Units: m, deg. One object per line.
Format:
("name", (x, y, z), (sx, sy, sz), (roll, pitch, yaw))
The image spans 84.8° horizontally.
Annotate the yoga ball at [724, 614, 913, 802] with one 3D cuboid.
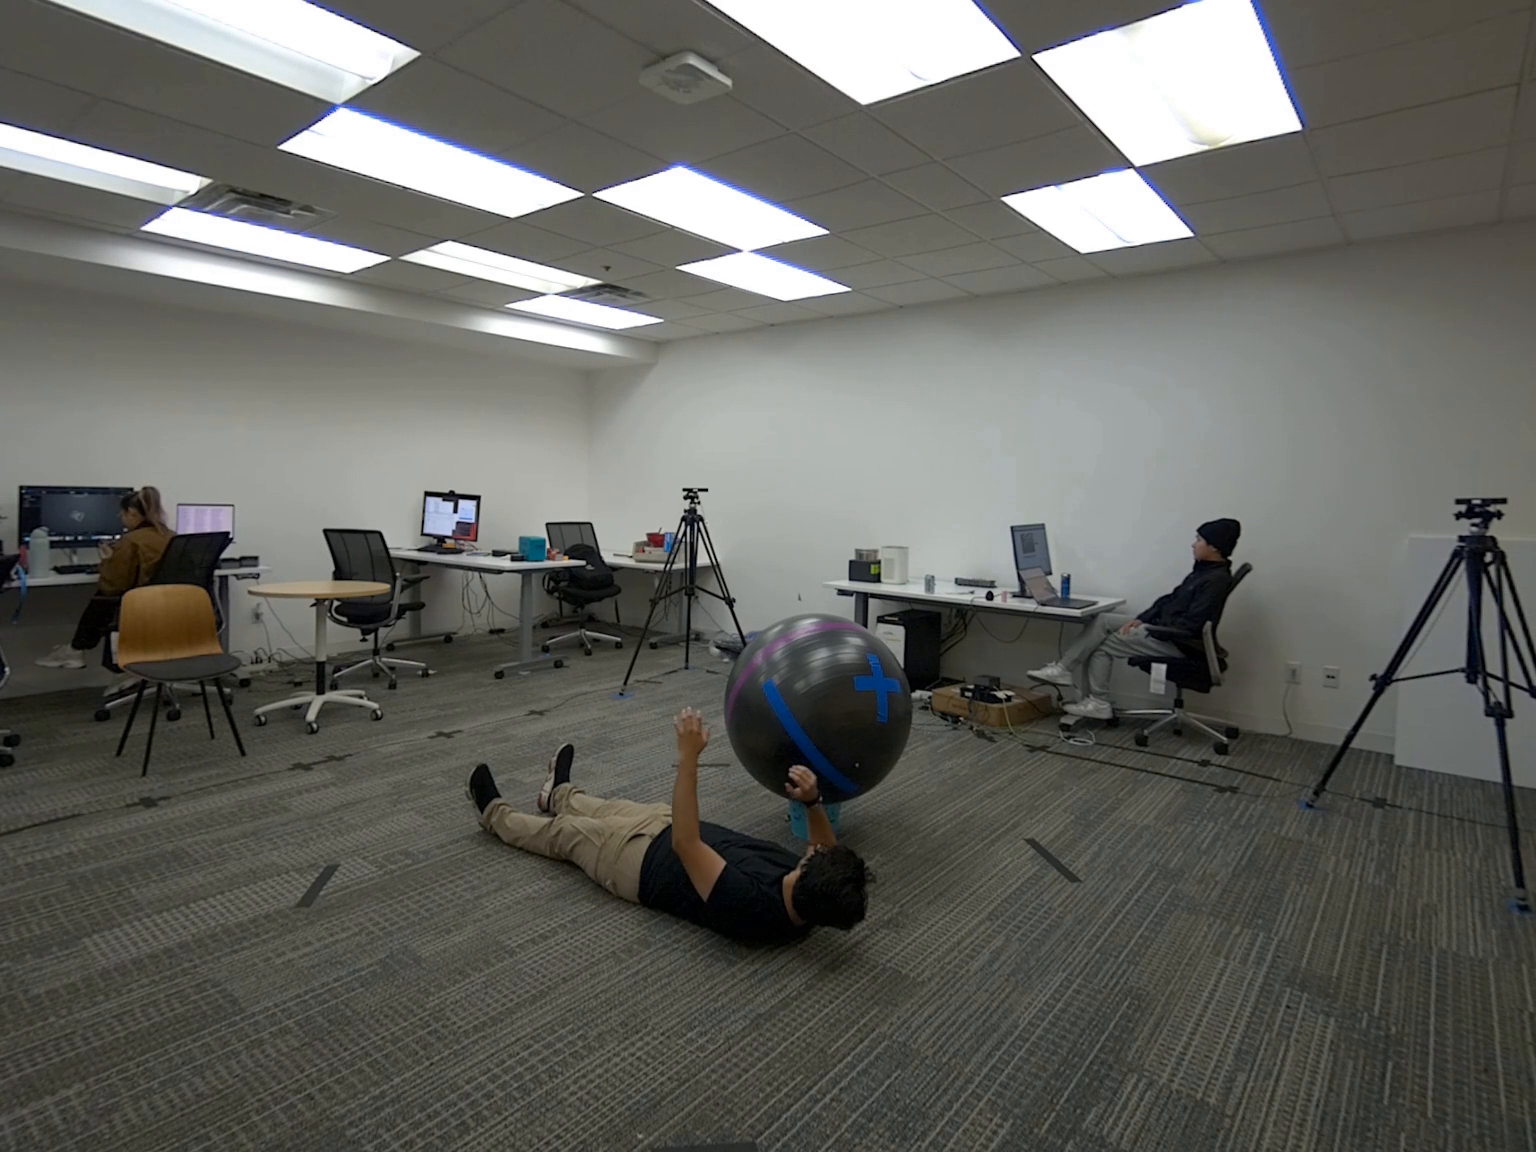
("yoga ball", (0.190, 0.532, 3.459), (0.757, 0.756, 0.761), (0, 4, -2))
